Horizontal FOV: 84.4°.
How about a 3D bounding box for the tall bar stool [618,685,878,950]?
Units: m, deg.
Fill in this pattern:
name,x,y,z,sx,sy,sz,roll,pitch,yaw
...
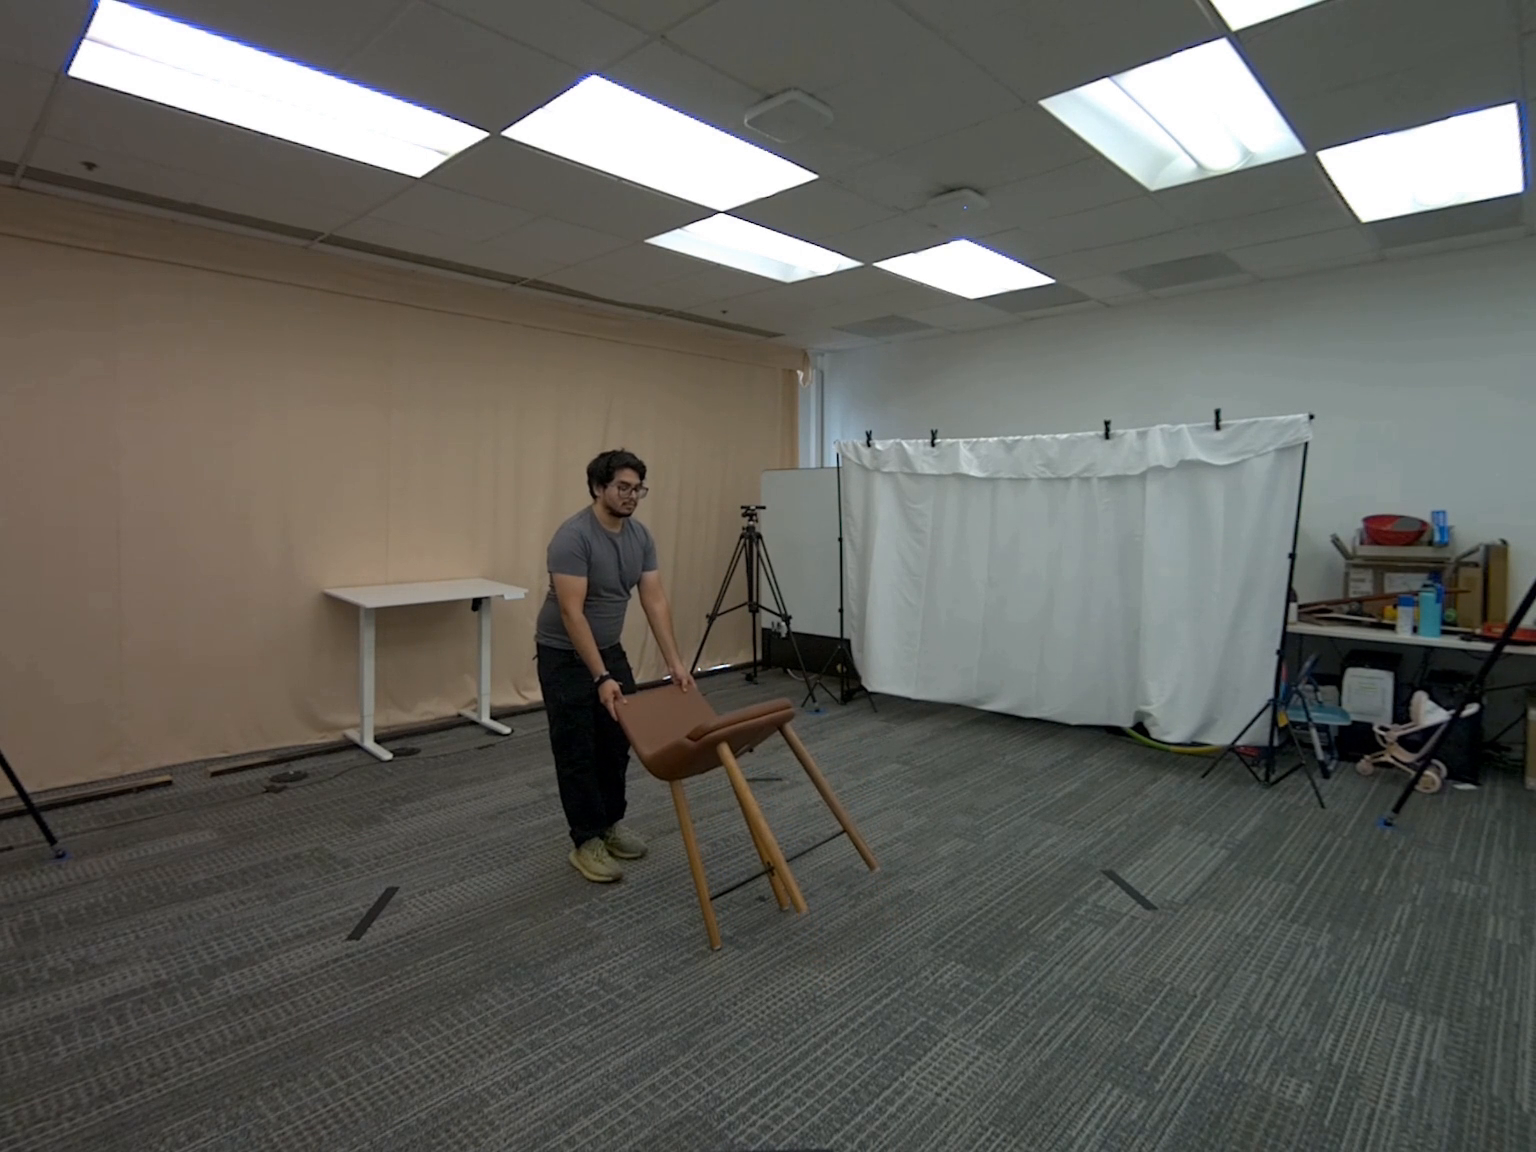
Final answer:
name,x,y,z,sx,sy,sz,roll,pitch,yaw
tall bar stool,-0.107,0.682,2.798,0.443,0.908,0.472,-5,-30,-48
